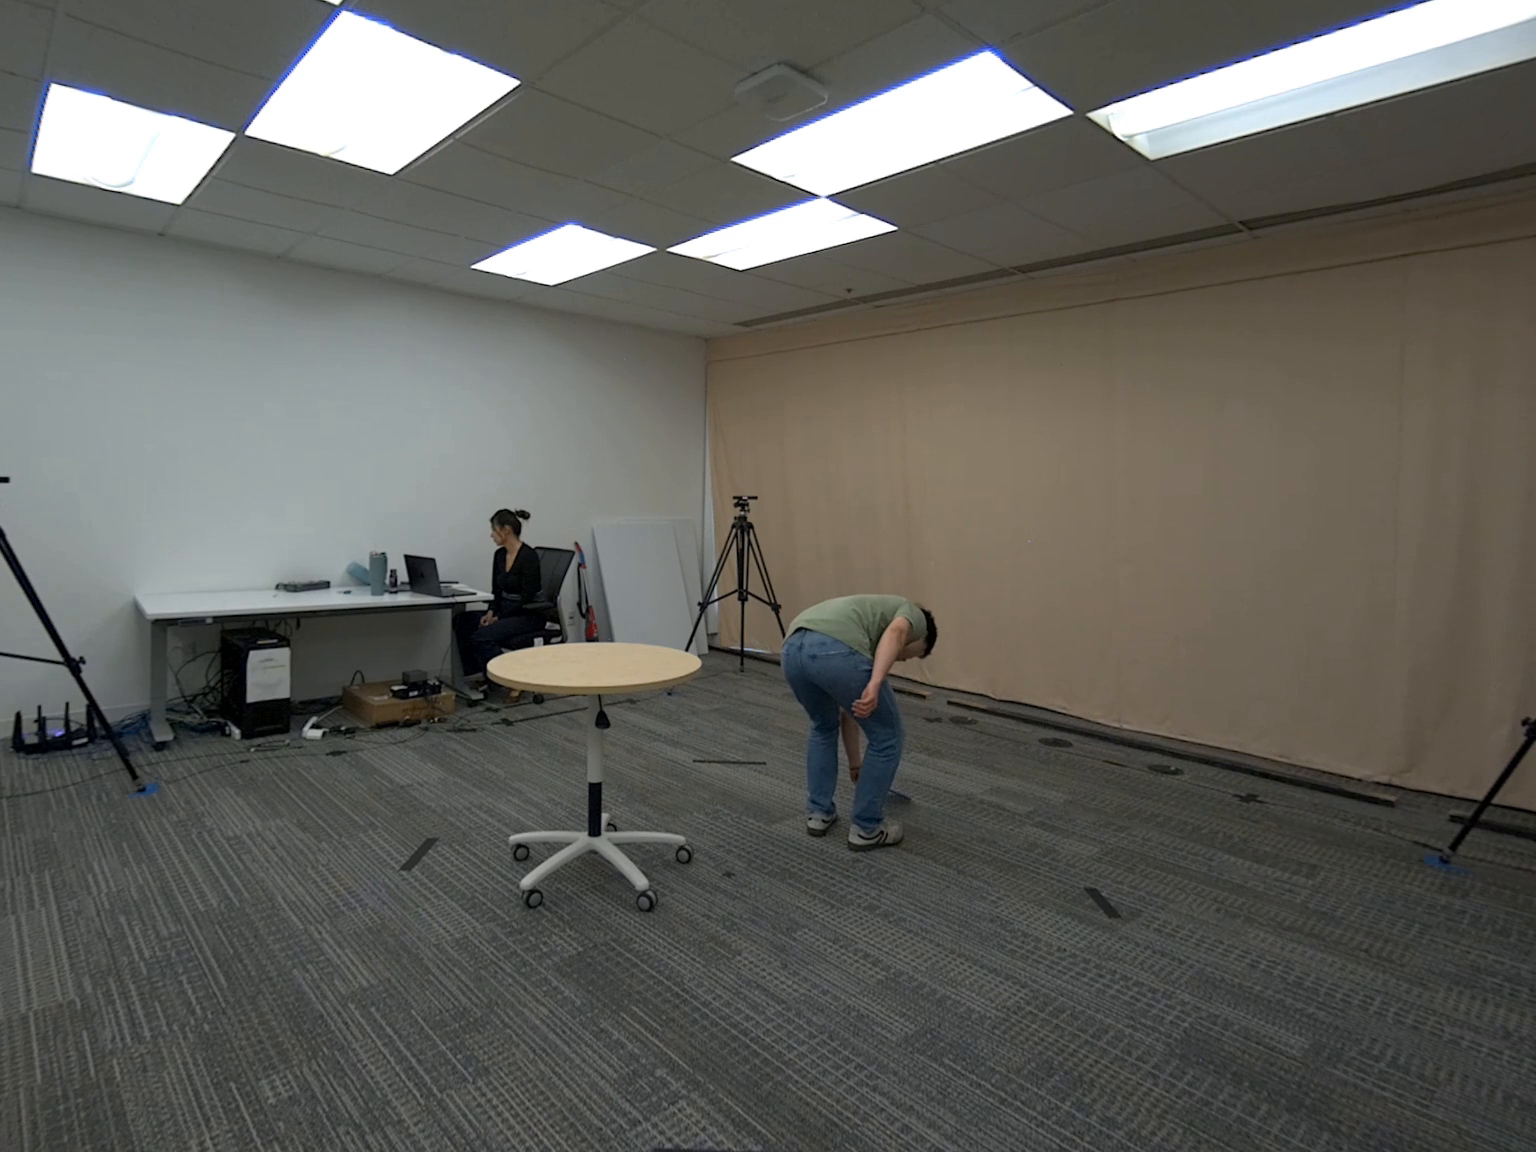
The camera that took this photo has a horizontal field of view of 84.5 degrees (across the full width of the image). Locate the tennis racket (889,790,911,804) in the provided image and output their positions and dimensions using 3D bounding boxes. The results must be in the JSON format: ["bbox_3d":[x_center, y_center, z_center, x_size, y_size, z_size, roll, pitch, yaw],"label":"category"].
[{"bbox_3d":[0.507,0.967,3.844,0.220,0.032,0.419,13,-12,39],"label":"tennis racket"}]
